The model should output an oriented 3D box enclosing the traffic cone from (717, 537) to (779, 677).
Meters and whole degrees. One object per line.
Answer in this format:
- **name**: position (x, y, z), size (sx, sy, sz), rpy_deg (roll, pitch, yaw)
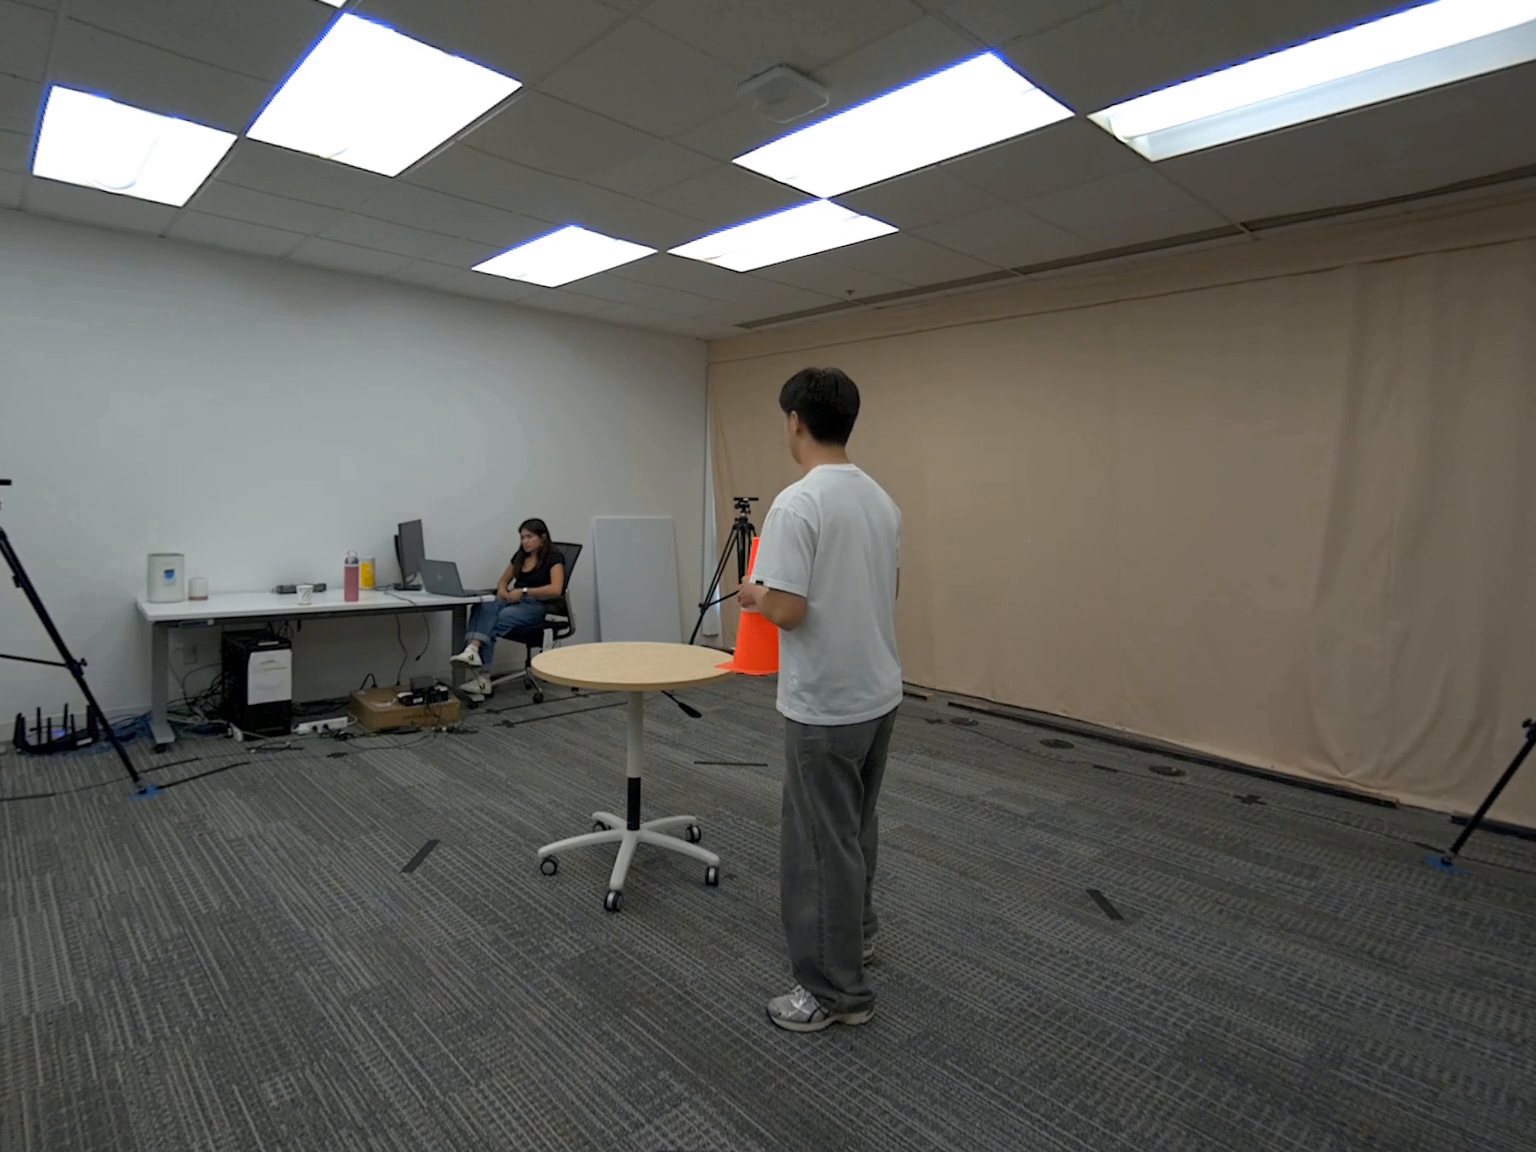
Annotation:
- **traffic cone**: position (-0.027, 0.081, 2.459), size (0.208, 0.383, 0.200), rpy_deg (4, 5, 39)
